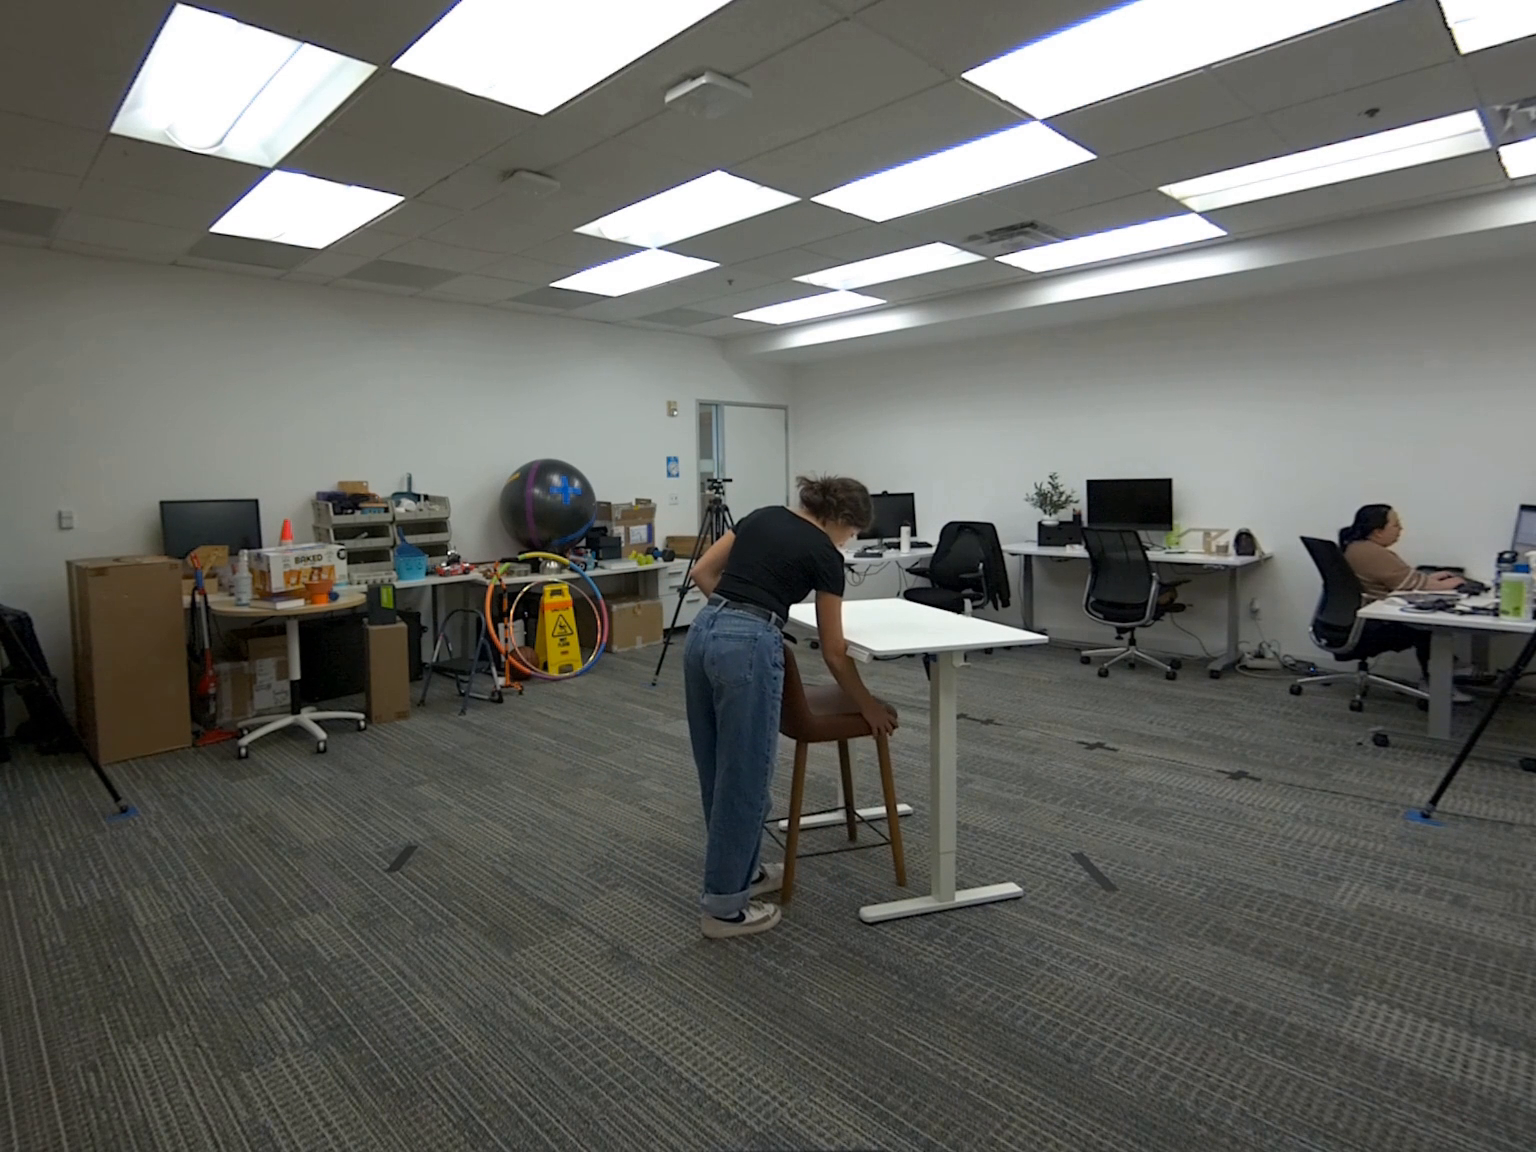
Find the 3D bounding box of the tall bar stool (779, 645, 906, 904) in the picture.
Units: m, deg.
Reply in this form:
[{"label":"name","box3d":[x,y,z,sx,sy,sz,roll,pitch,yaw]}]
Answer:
[{"label":"tall bar stool","box3d":[0.182,0.616,3.023,0.460,0.886,0.466,-5,5,-18]}]
